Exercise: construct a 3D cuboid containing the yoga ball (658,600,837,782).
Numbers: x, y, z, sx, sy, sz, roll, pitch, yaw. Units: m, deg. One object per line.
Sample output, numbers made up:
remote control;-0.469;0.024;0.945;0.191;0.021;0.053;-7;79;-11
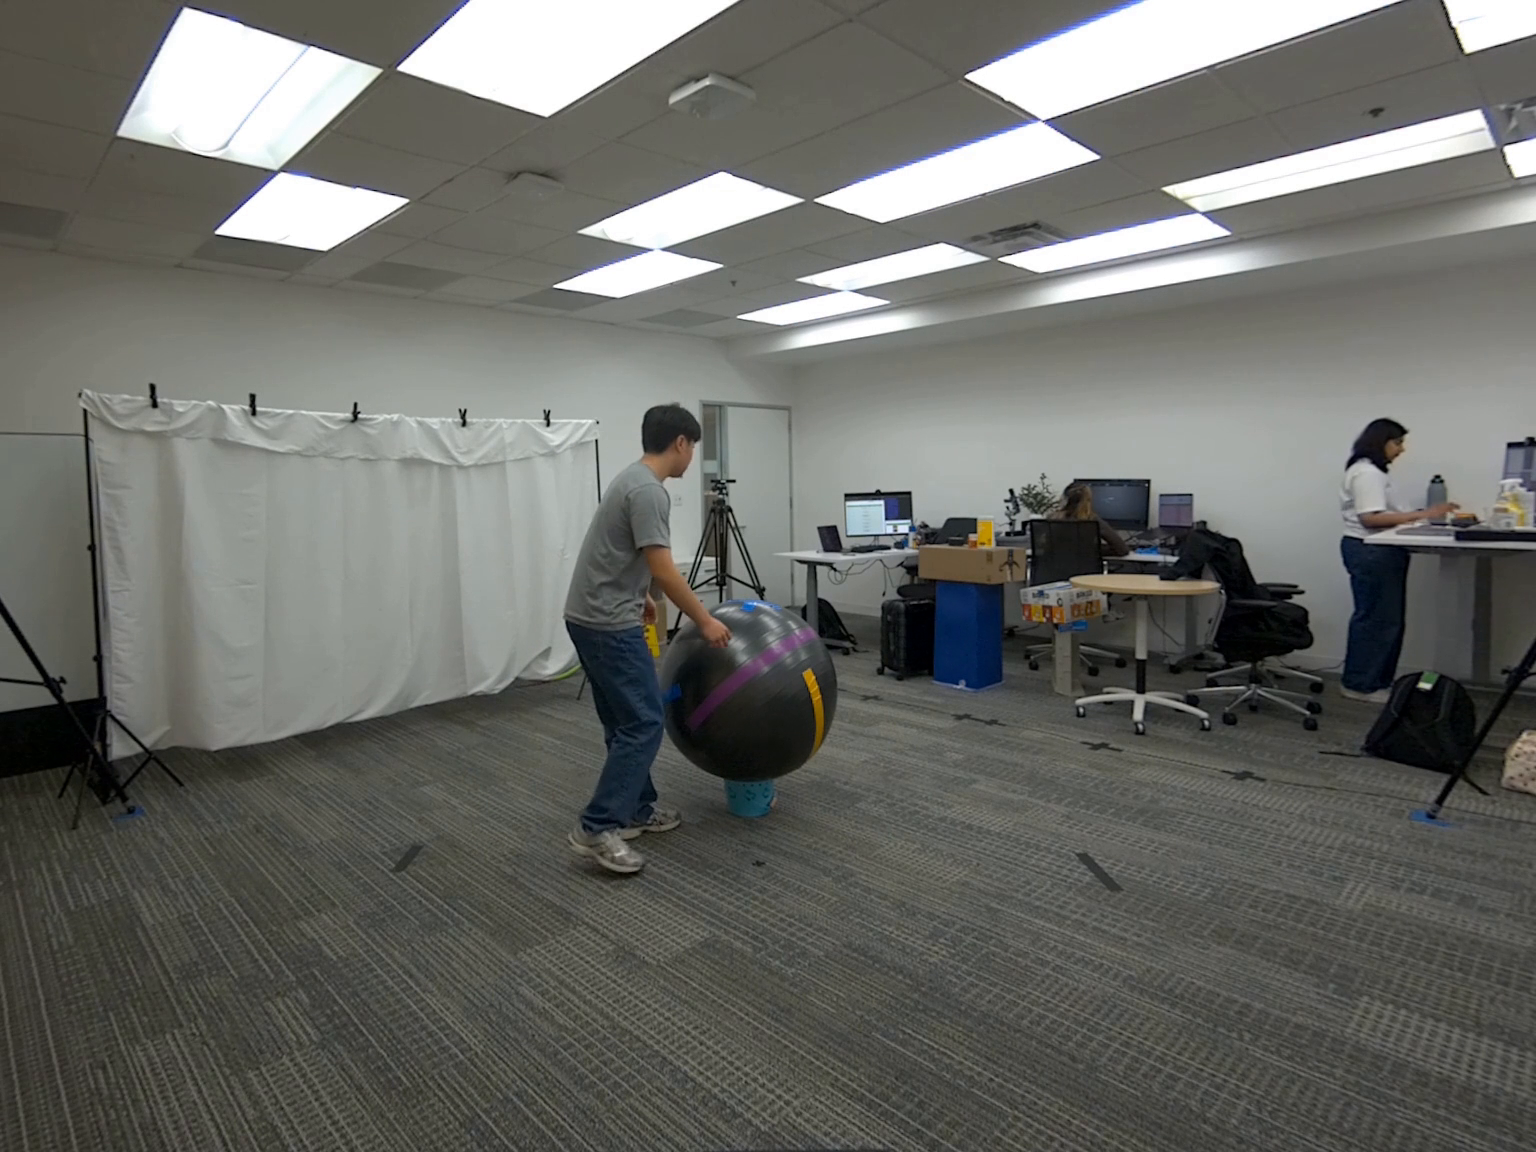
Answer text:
yoga ball;-0.087;0.488;3.615;0.757;0.755;0.762;-1;5;-2
